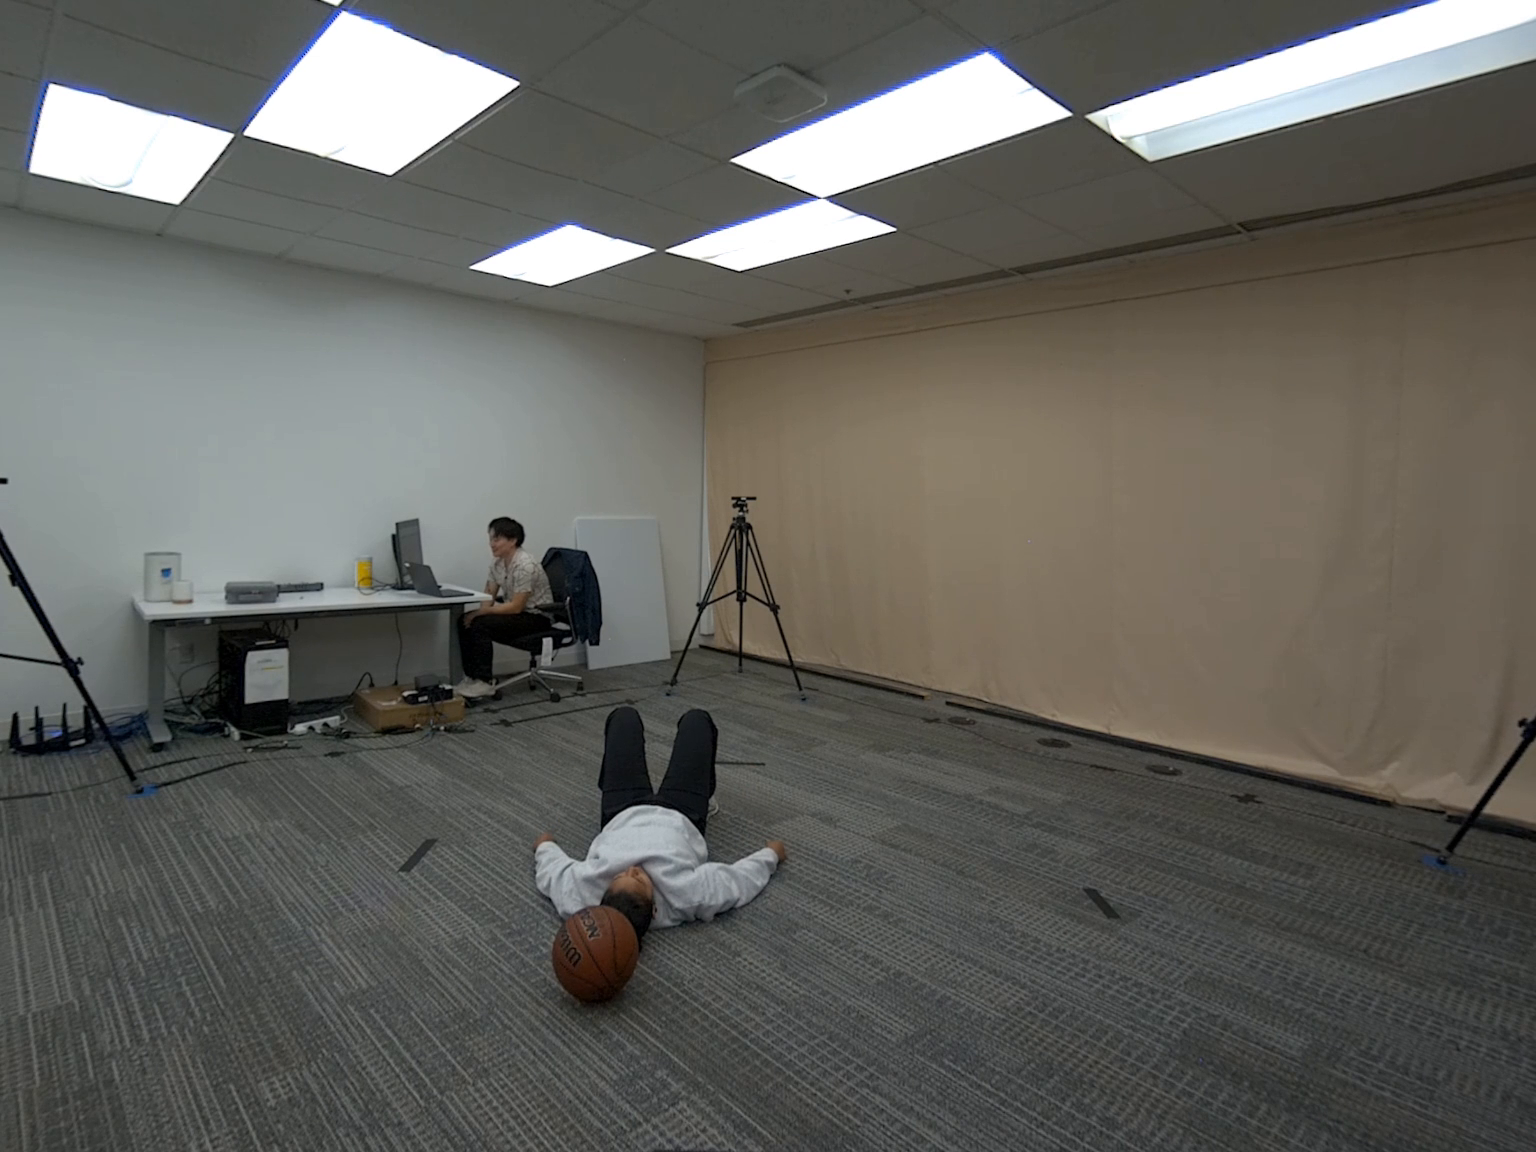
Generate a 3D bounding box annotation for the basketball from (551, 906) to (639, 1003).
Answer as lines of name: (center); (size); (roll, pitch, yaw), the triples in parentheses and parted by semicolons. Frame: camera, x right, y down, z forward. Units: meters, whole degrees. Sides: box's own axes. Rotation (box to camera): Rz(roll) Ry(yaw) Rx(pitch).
basketball: (-0.488, 1.057, 2.341); (0.236, 0.235, 0.237); (1, 4, -1)
